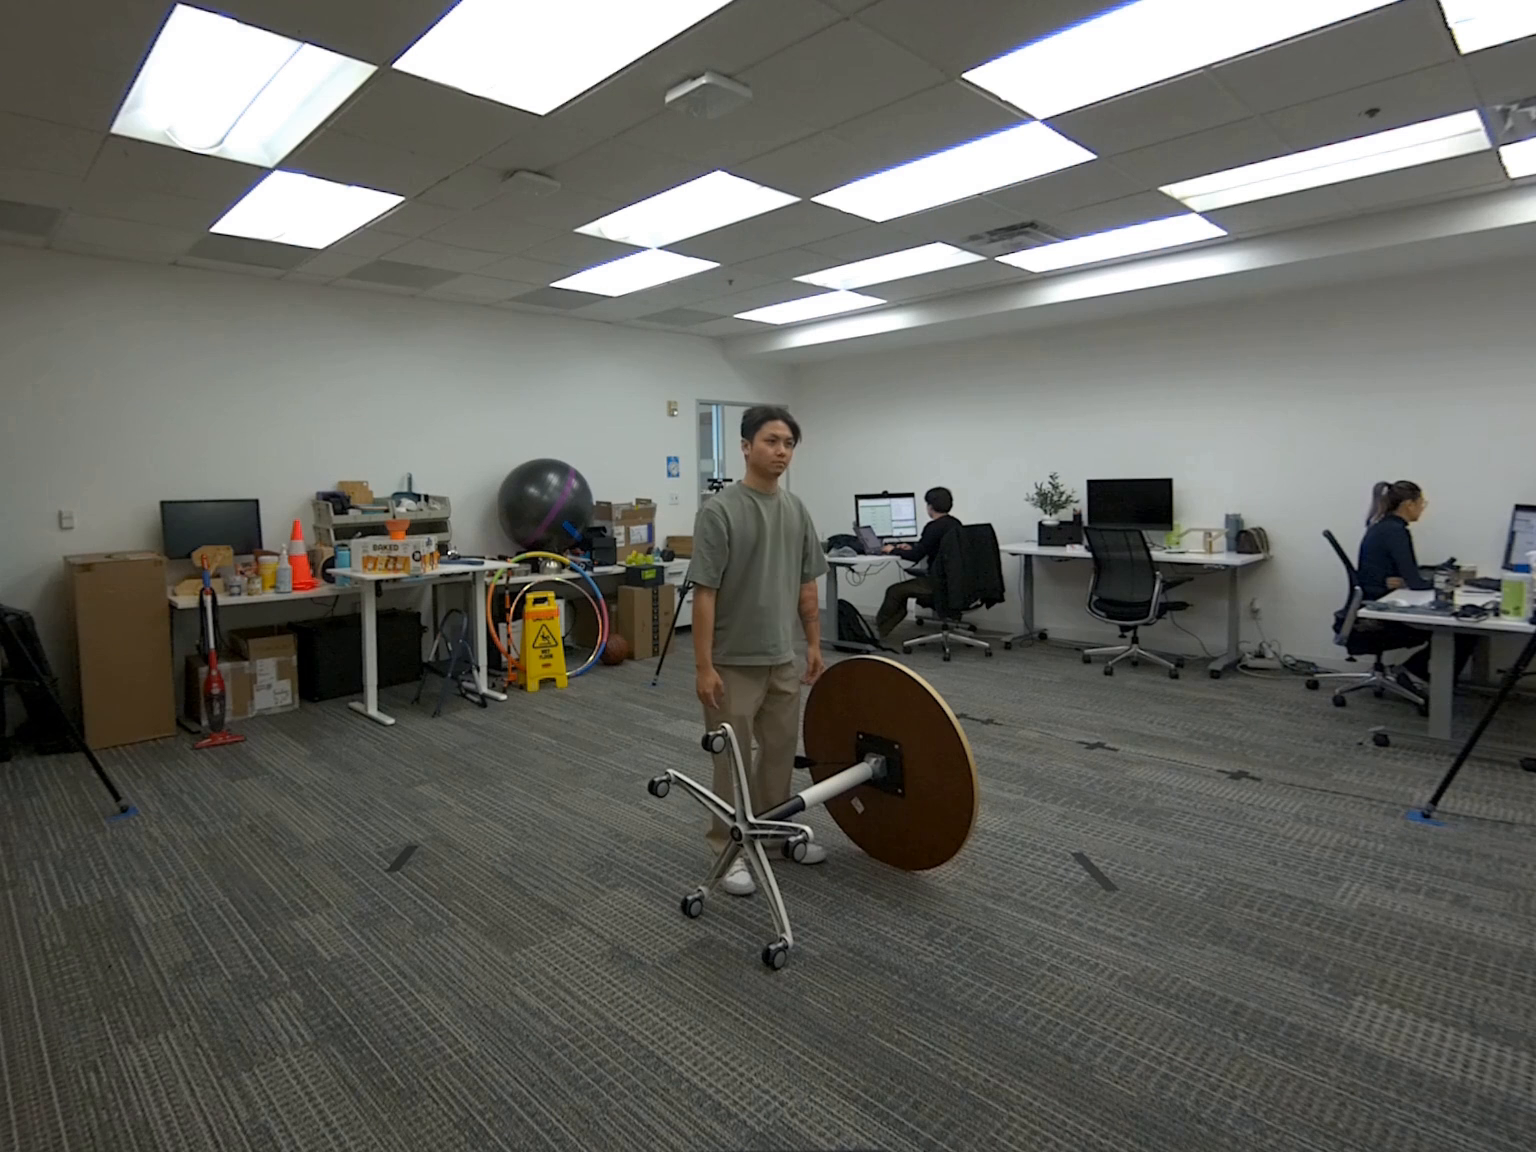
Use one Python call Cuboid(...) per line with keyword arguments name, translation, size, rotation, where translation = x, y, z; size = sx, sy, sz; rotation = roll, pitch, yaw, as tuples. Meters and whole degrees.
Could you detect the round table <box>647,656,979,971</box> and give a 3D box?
Cuboid(name="round table", translation=(0.138, 0.734, 2.789), size=(0.769, 0.778, 0.809), rotation=(-14, 12, -41))
